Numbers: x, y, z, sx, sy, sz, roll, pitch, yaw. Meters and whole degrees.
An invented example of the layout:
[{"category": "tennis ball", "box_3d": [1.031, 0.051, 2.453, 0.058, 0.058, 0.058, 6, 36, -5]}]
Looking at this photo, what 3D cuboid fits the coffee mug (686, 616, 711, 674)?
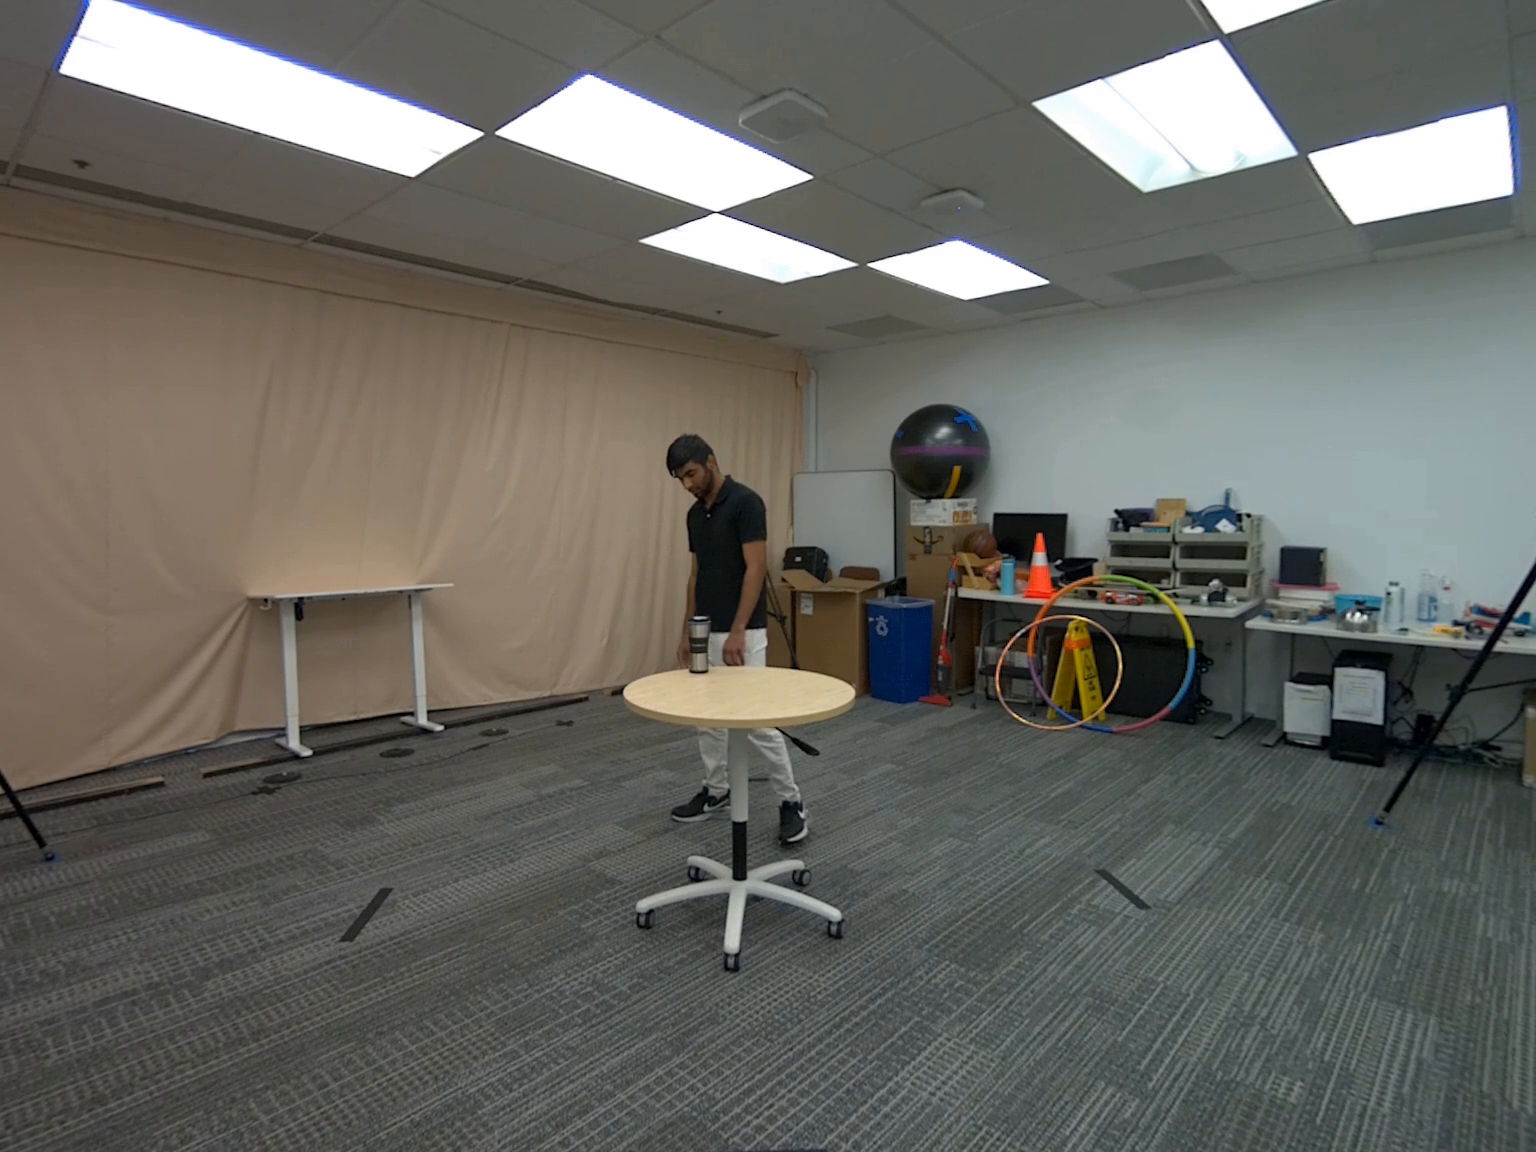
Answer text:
[{"category": "coffee mug", "box_3d": [-0.238, 0.249, 3.094, 0.090, 0.202, 0.118, -2, 5, 37]}]
